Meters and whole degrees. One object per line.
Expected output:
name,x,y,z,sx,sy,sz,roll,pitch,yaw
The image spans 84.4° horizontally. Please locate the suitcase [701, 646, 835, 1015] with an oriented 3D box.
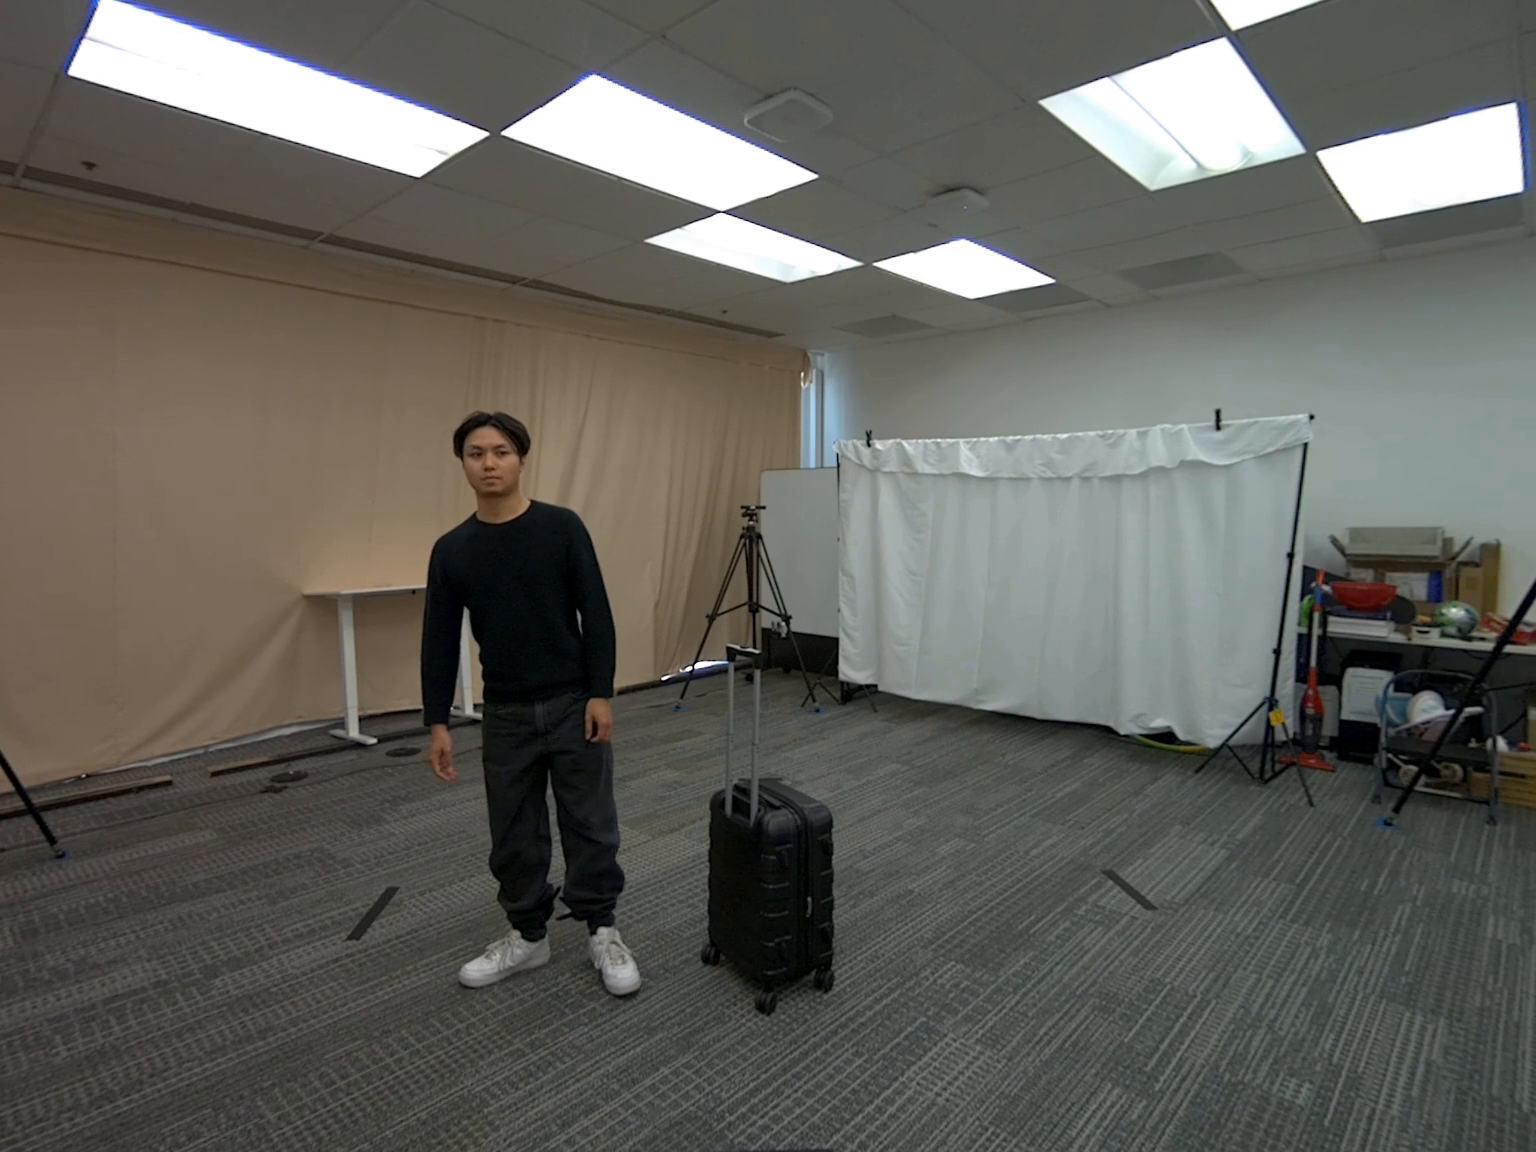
suitcase,0.020,0.713,2.498,0.249,0.978,0.396,2,1,-34
